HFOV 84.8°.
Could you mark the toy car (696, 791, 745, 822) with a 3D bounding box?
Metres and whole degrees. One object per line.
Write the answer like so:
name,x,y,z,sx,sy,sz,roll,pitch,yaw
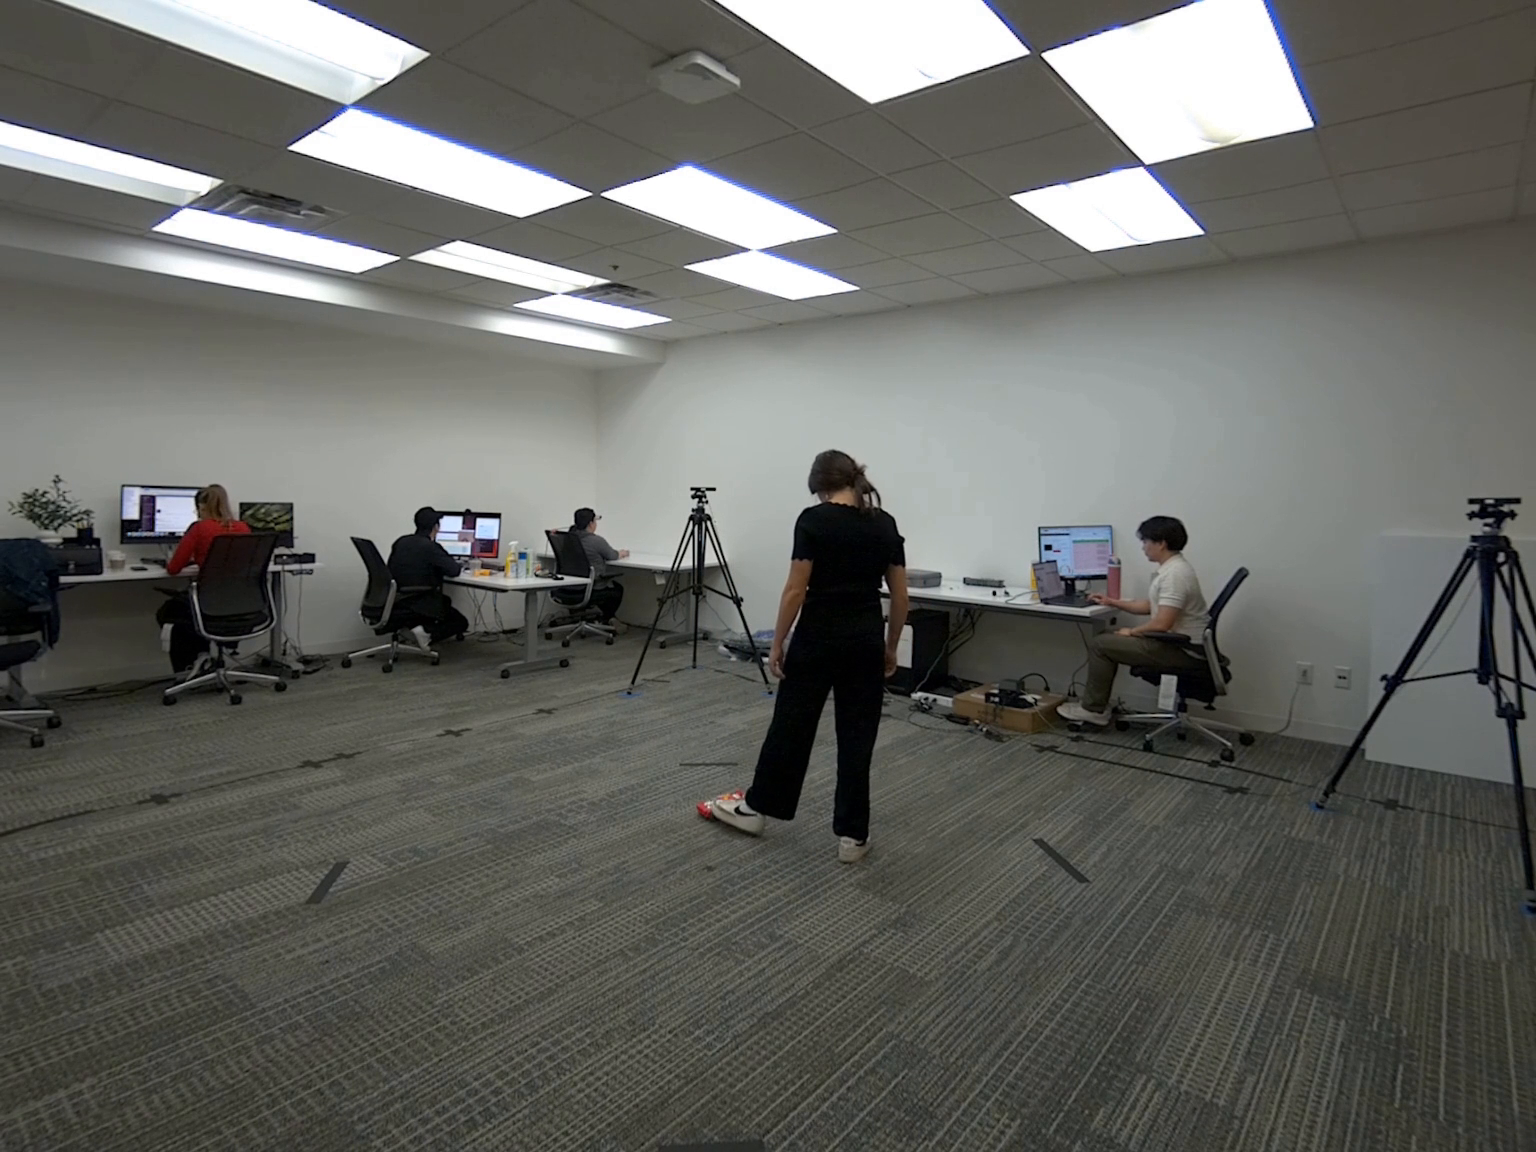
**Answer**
toy car,-0.186,0.981,3.640,0.250,0.082,0.134,-15,12,-27
